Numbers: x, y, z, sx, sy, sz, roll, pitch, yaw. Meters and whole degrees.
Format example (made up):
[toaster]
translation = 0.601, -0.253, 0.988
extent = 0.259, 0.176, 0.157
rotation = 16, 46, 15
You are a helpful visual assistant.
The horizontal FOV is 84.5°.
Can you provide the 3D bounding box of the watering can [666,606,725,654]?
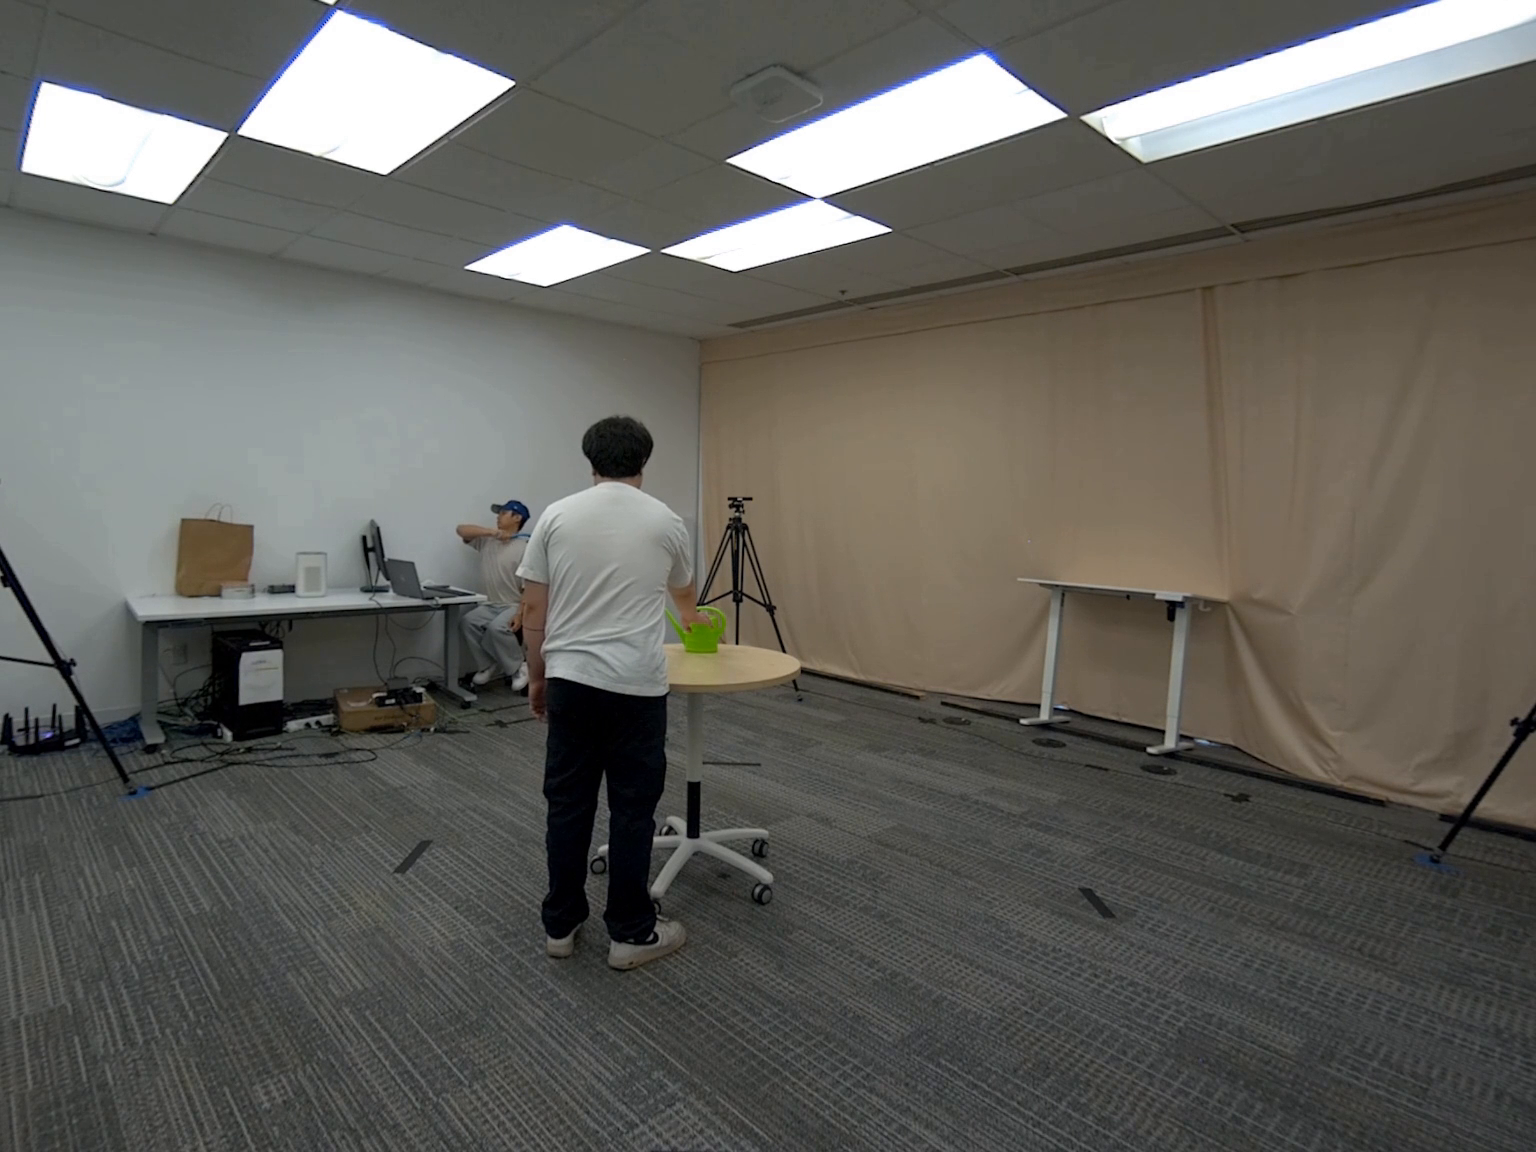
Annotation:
[watering can]
translation = -0.315, 0.209, 3.302
extent = 0.284, 0.176, 0.096
rotation = 5, 5, 27
